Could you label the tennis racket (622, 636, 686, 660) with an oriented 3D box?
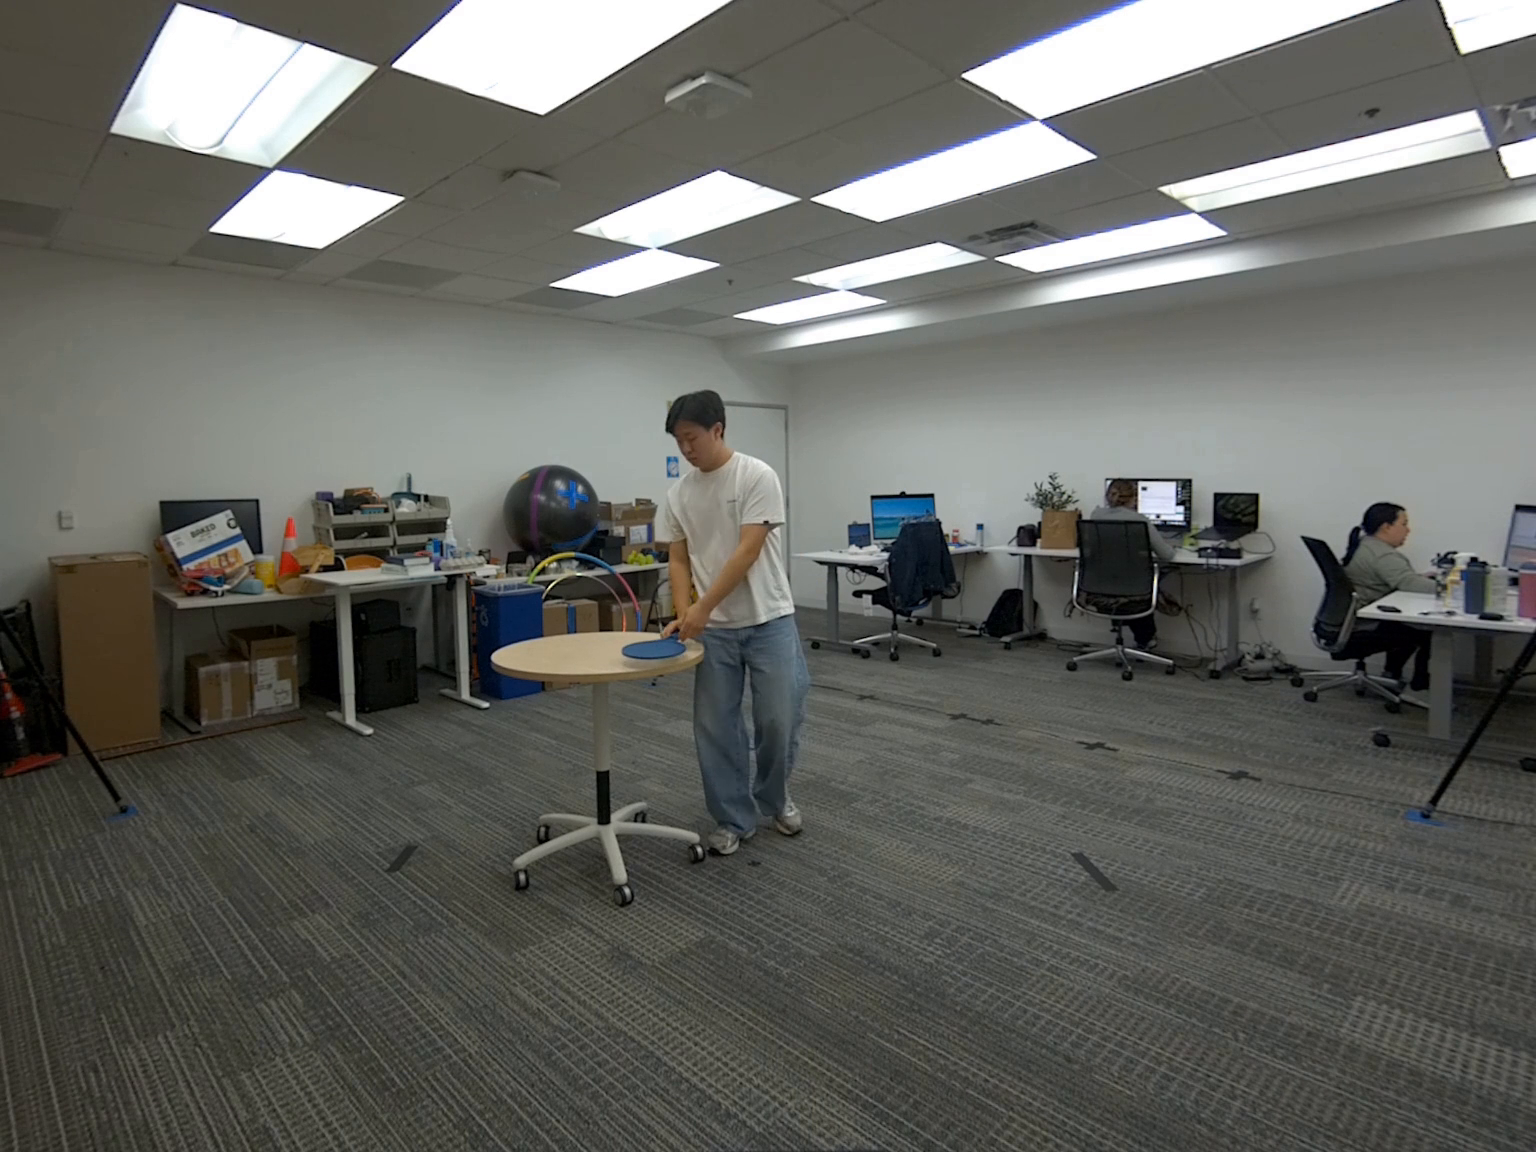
[{"bbox_3d":[-0.369,0.245,2.978,0.216,0.031,0.430,1,7,9],"label":"tennis racket"}]
